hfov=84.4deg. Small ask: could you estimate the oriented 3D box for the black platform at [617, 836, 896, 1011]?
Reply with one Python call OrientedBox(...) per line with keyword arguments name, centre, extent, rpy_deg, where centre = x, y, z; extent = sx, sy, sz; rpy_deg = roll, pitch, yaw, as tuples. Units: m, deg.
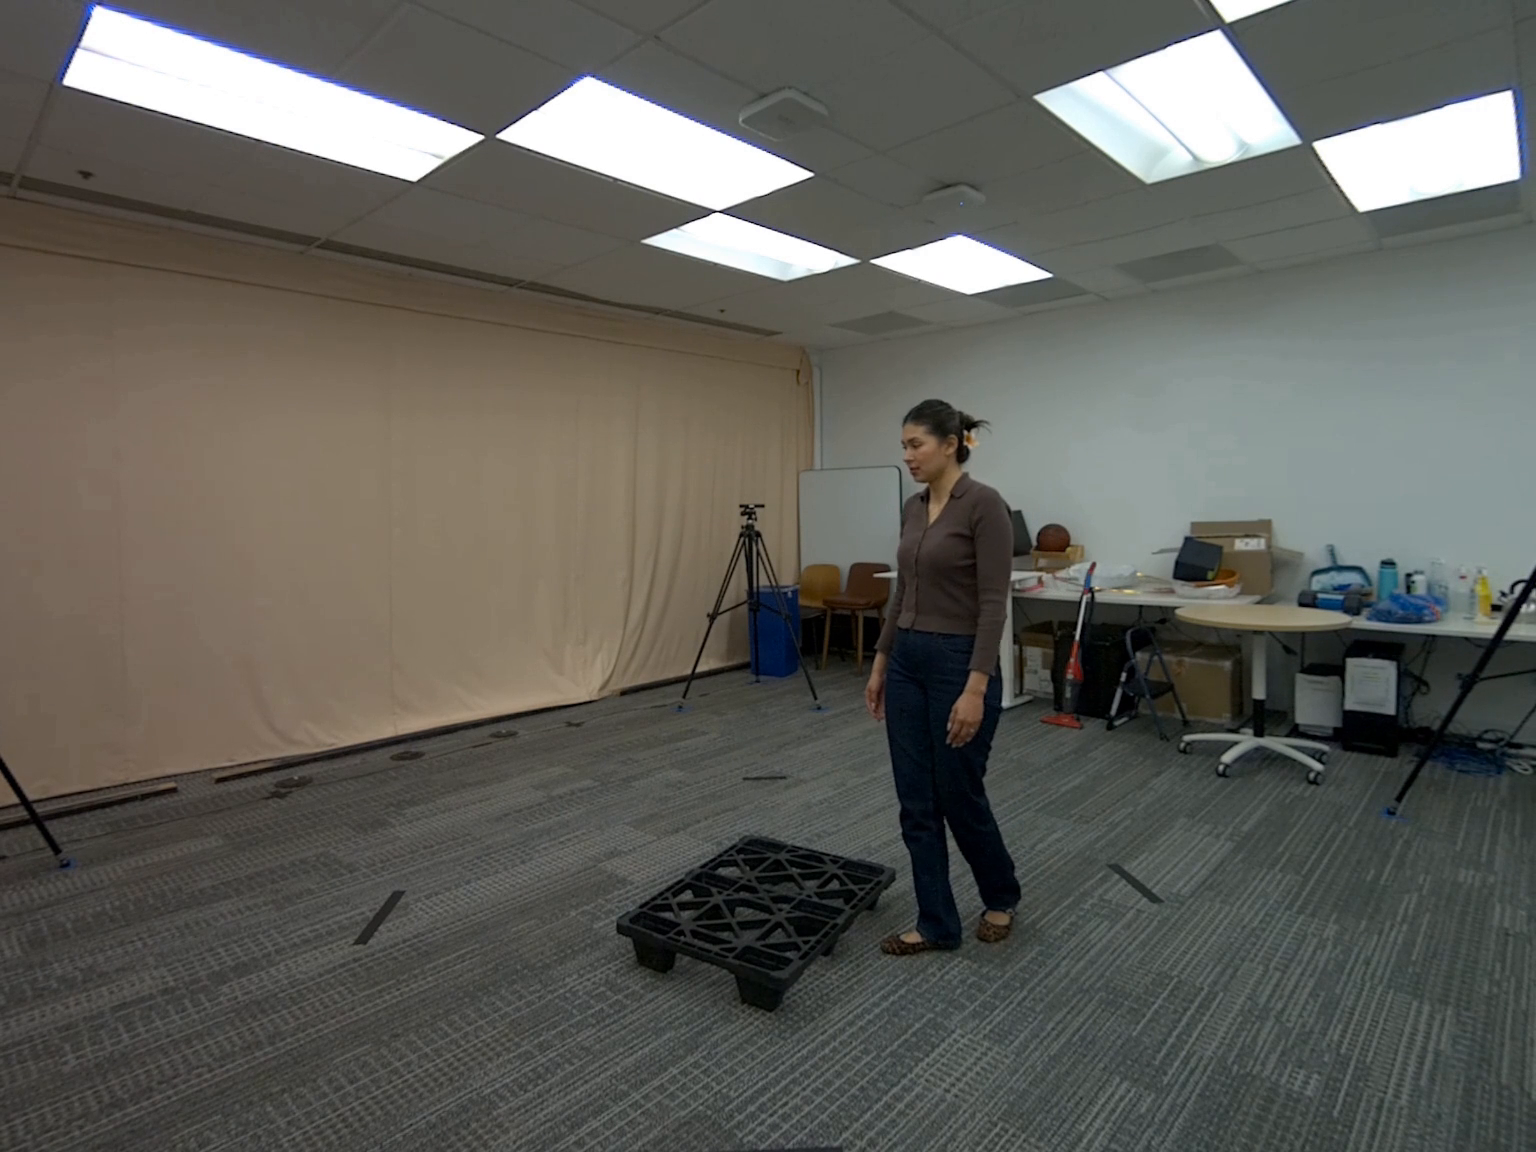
OrientedBox(name="black platform", centre=(-0.011, 1.094, 2.731), extent=(0.623, 0.143, 0.784), rpy_deg=(1, 5, 32))
